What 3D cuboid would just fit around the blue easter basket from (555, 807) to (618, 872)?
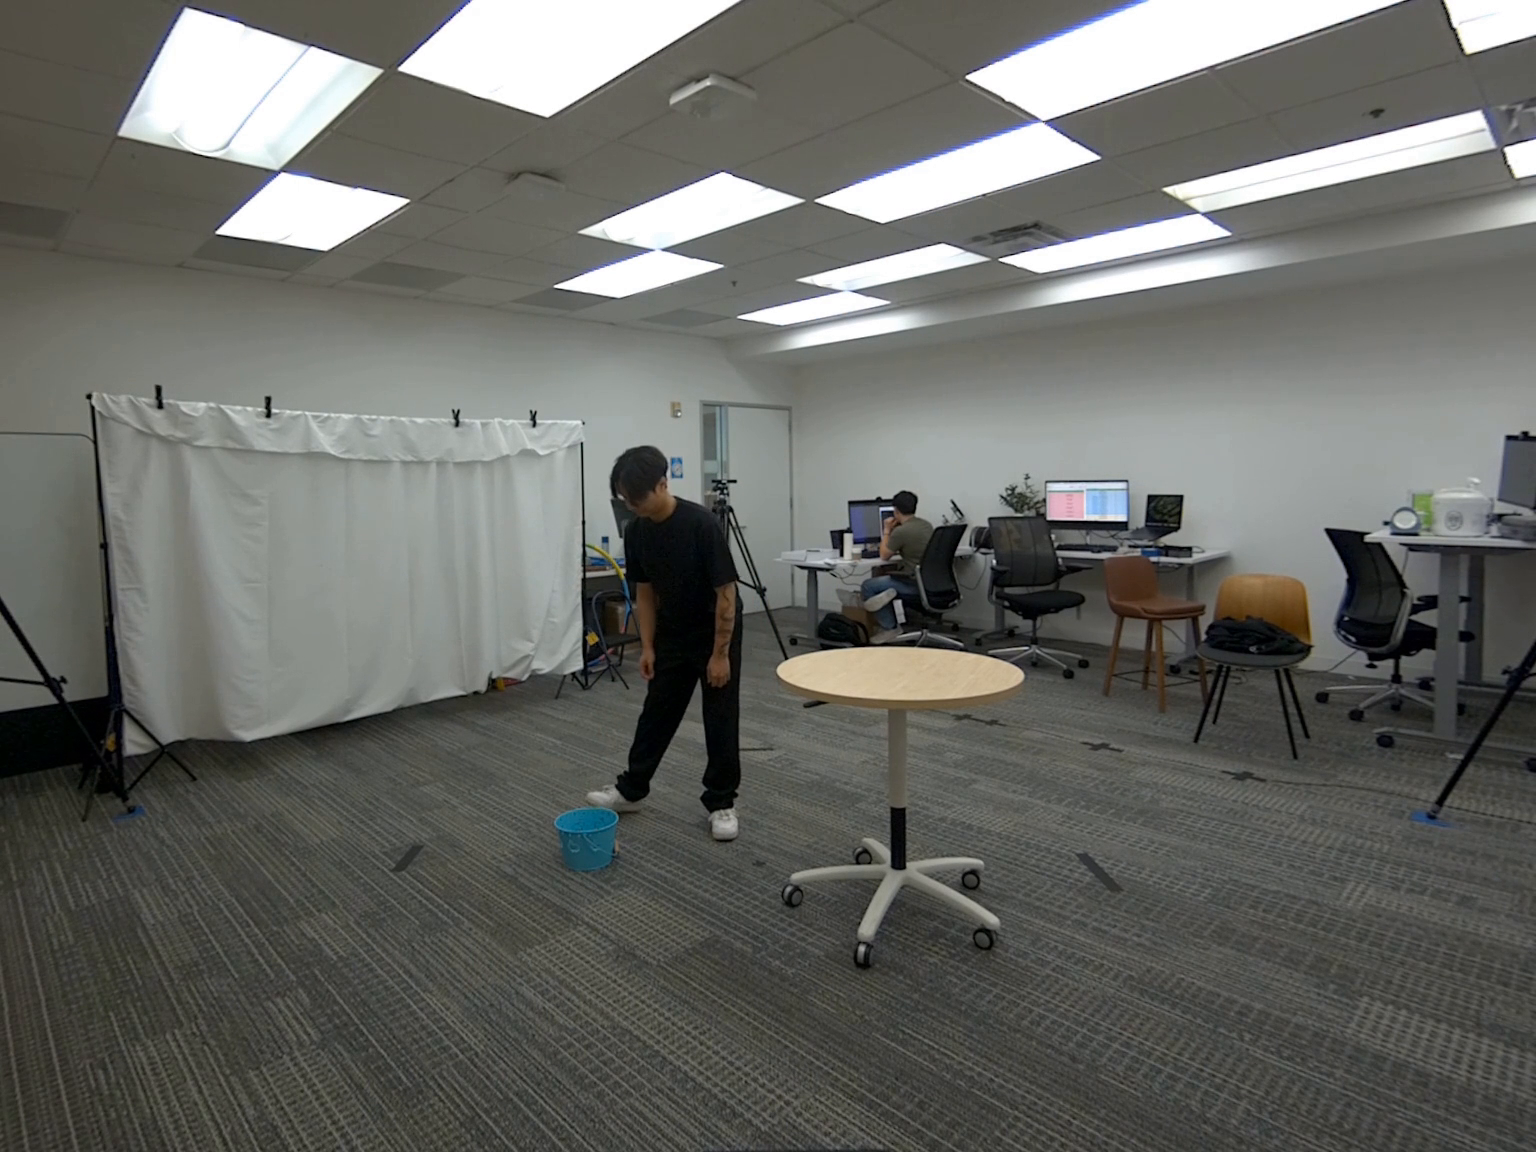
[{"bbox_3d":[-0.662,0.972,3.167,0.243,0.155,0.245,-1,5,-2],"label":"blue easter basket"}]
